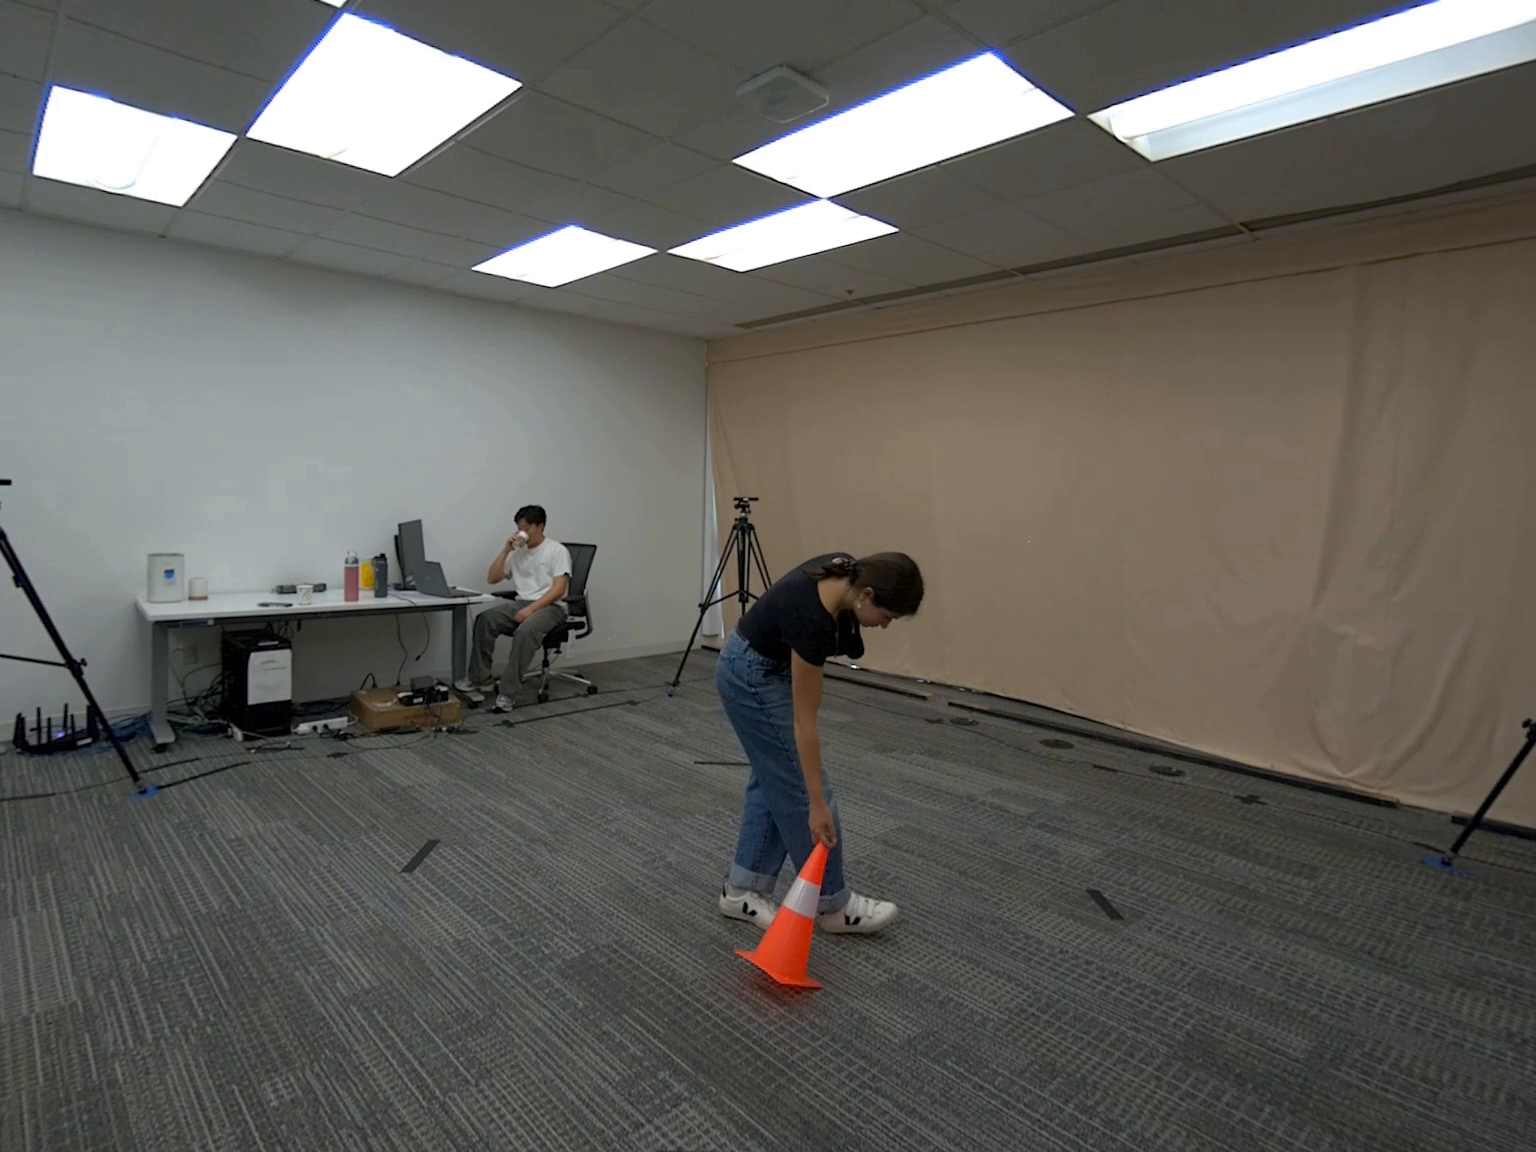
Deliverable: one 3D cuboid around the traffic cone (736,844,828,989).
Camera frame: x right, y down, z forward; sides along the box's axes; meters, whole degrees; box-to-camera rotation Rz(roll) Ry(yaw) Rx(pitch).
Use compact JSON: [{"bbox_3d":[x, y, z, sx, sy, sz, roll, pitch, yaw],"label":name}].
[{"bbox_3d":[0.082,0.967,2.457,0.199,0.386,0.208,30,-16,-35],"label":"traffic cone"}]
